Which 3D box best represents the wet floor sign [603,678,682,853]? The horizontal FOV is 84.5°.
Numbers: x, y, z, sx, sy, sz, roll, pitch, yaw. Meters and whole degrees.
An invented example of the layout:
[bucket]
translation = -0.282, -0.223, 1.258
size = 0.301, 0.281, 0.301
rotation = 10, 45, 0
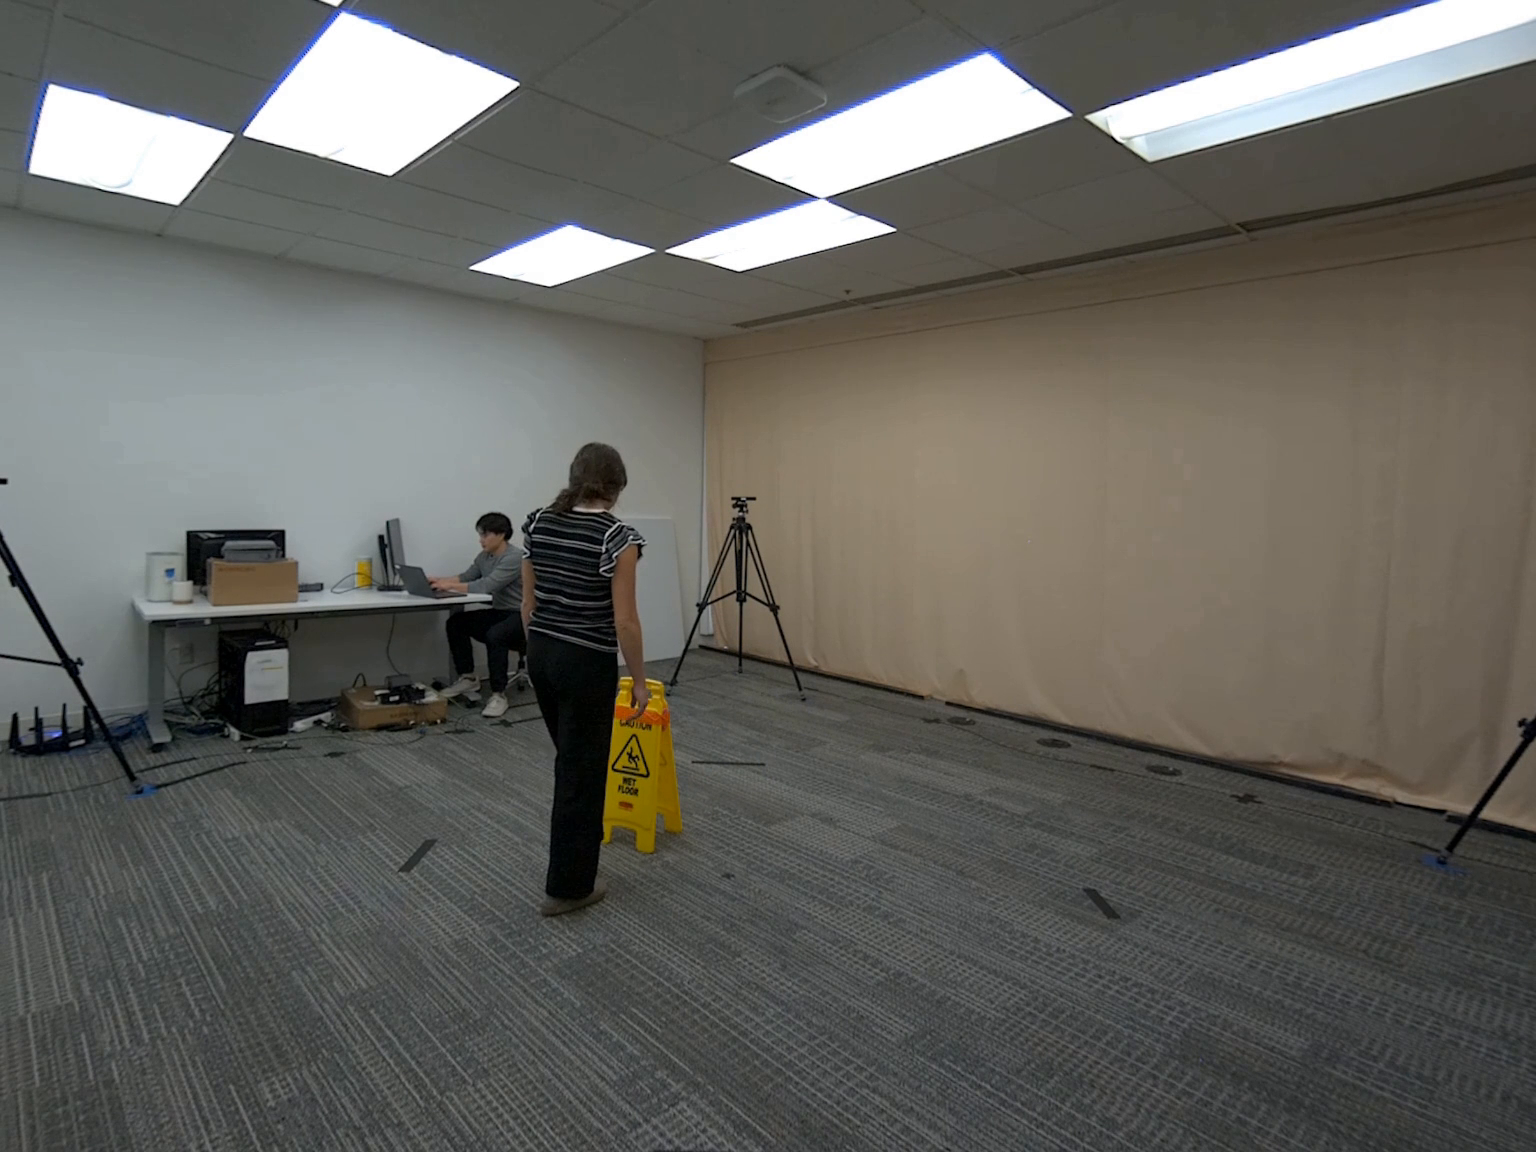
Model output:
[wet floor sign]
translation = -0.530, 0.747, 3.440
size = 0.287, 0.645, 0.285
rotation = 4, 3, 24
